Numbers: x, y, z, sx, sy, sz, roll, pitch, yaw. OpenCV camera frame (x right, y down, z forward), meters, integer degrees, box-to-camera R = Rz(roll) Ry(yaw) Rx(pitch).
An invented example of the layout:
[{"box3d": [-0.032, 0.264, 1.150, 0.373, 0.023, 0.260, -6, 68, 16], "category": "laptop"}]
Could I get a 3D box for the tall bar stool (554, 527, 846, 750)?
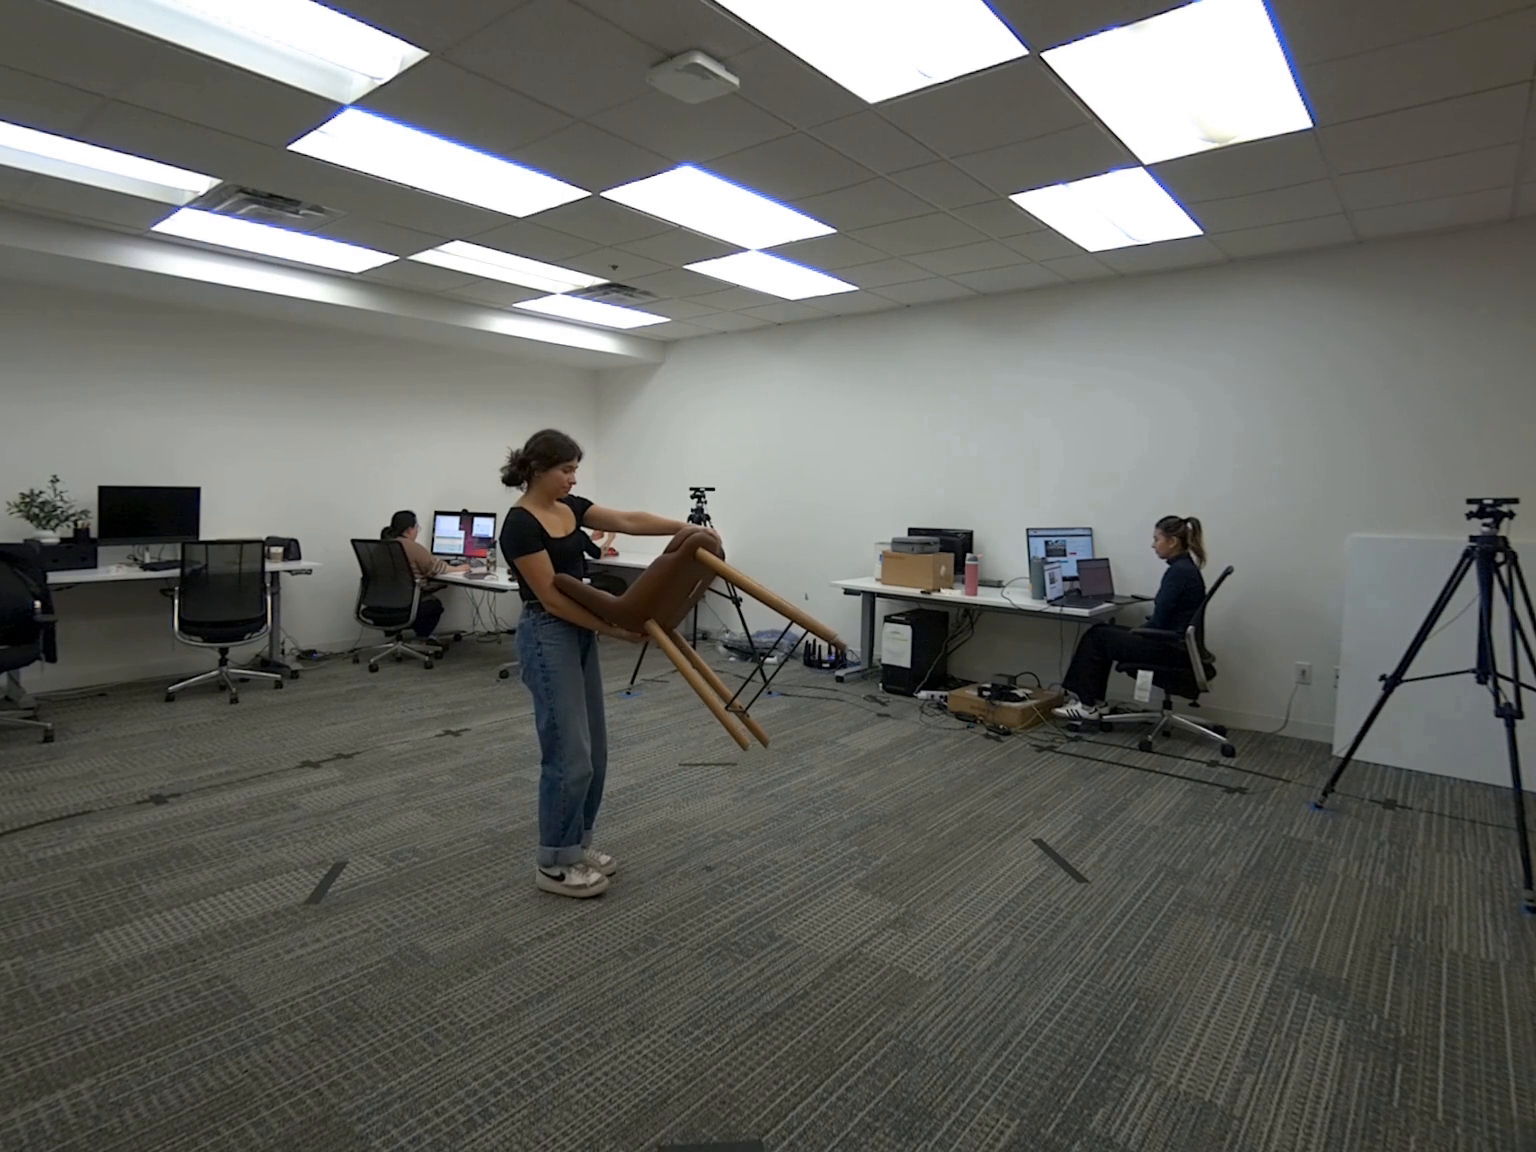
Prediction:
[{"box3d": [-0.243, 0.131, 2.886, 0.913, 0.467, 0.445, 36, -1, 18], "category": "tall bar stool"}]
